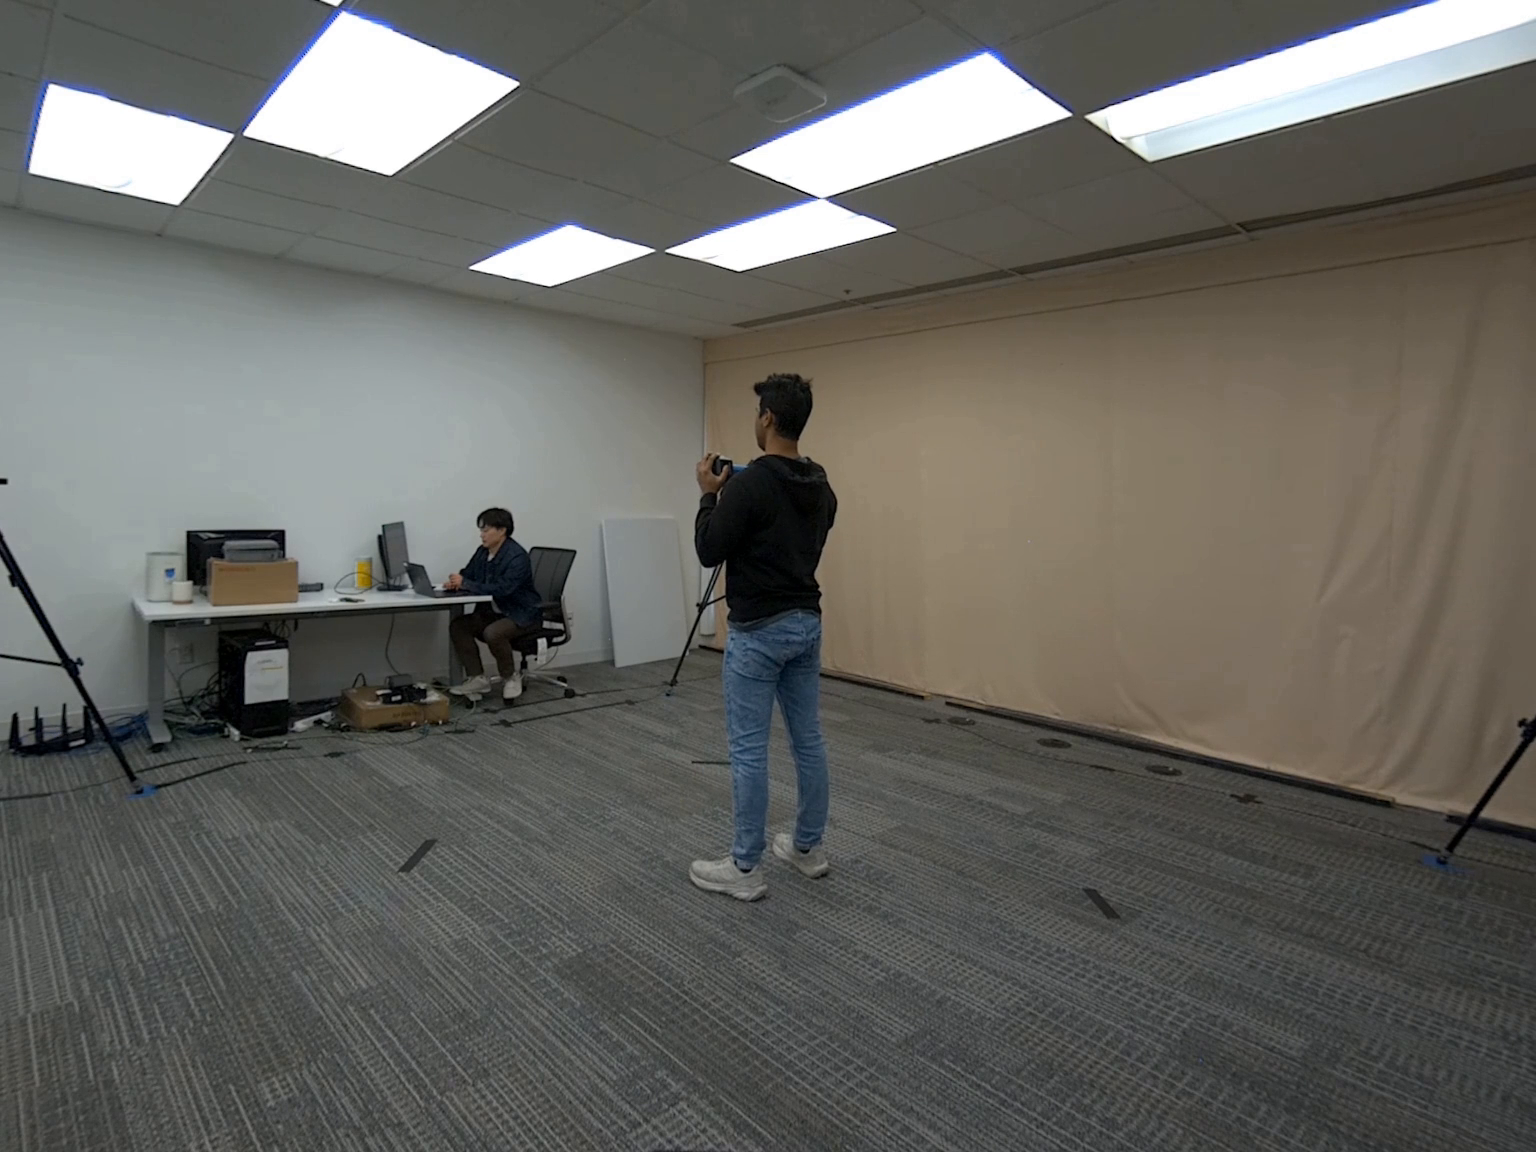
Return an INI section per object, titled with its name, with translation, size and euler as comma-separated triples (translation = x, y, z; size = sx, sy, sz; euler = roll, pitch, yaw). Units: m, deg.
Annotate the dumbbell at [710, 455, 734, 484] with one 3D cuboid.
[dumbbell]
translation = -0.108, -0.386, 3.166
size = 0.286, 0.123, 0.111
euler = 0, -7, -43
